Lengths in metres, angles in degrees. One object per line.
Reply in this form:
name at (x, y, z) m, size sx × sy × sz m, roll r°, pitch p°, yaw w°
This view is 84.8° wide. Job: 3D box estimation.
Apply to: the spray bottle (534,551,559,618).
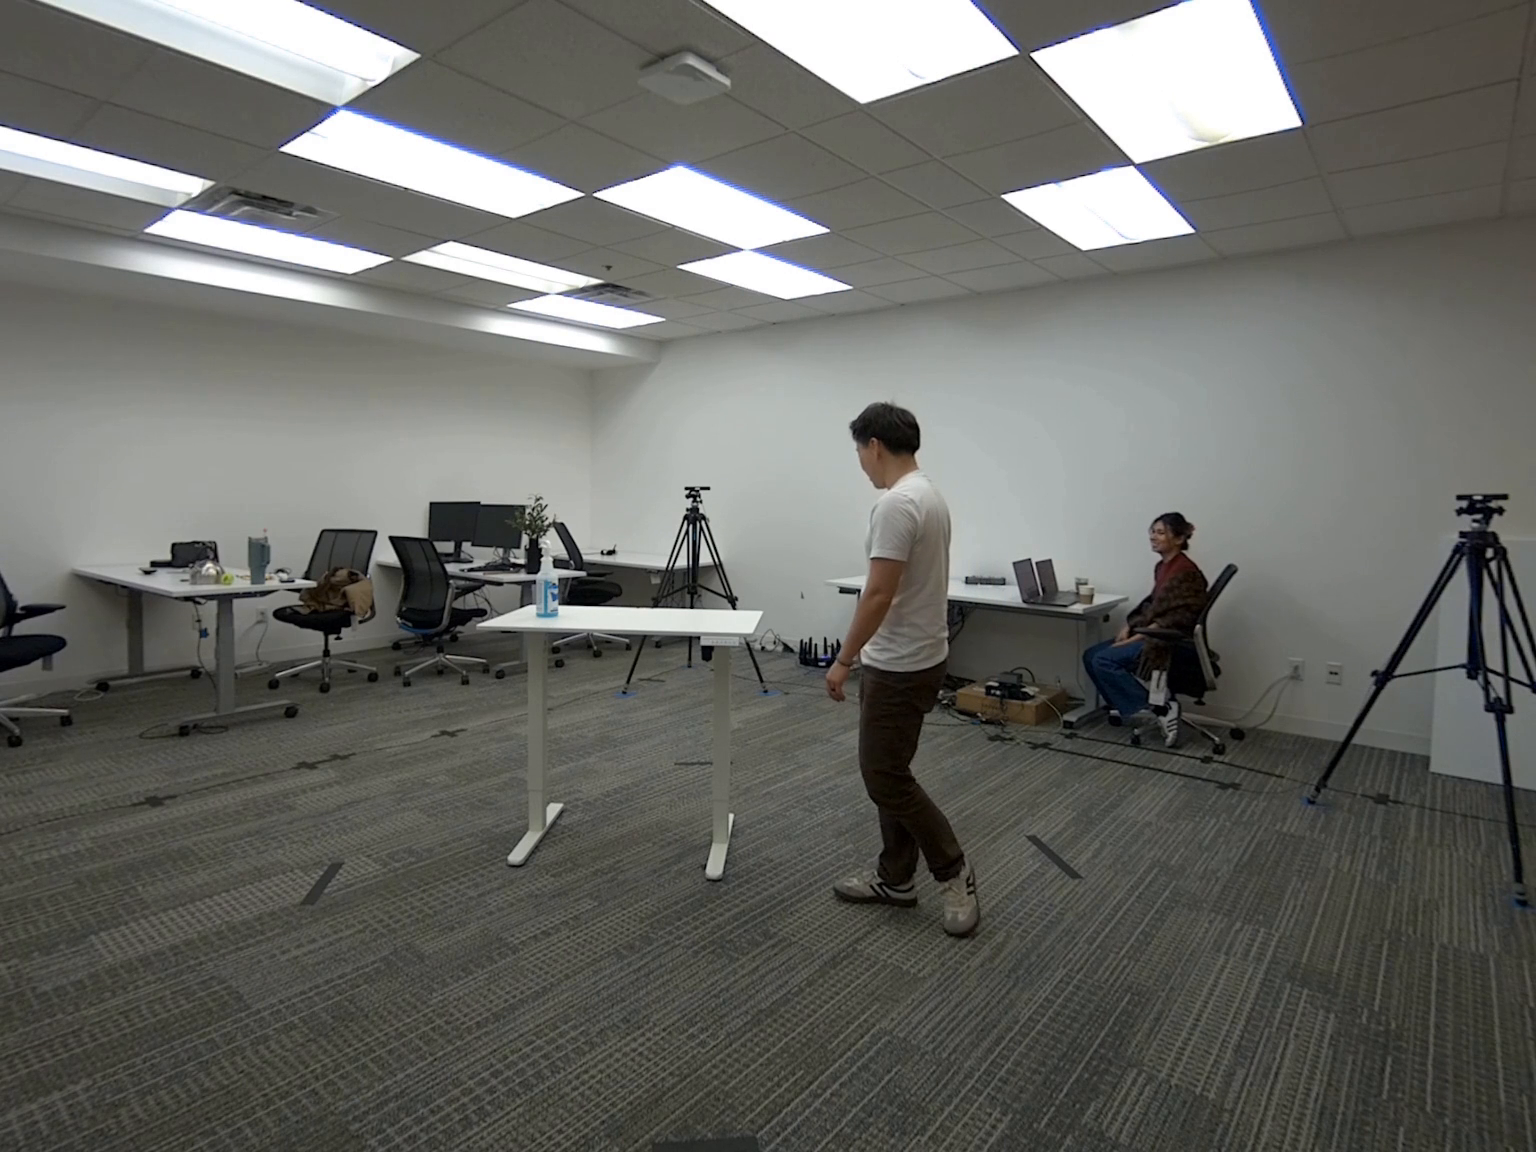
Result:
spray bottle at (-0.878, 0.008, 3.330) m, size 0.086 × 0.297 × 0.091 m, roll 0°, pitch 2°, yaw -7°
